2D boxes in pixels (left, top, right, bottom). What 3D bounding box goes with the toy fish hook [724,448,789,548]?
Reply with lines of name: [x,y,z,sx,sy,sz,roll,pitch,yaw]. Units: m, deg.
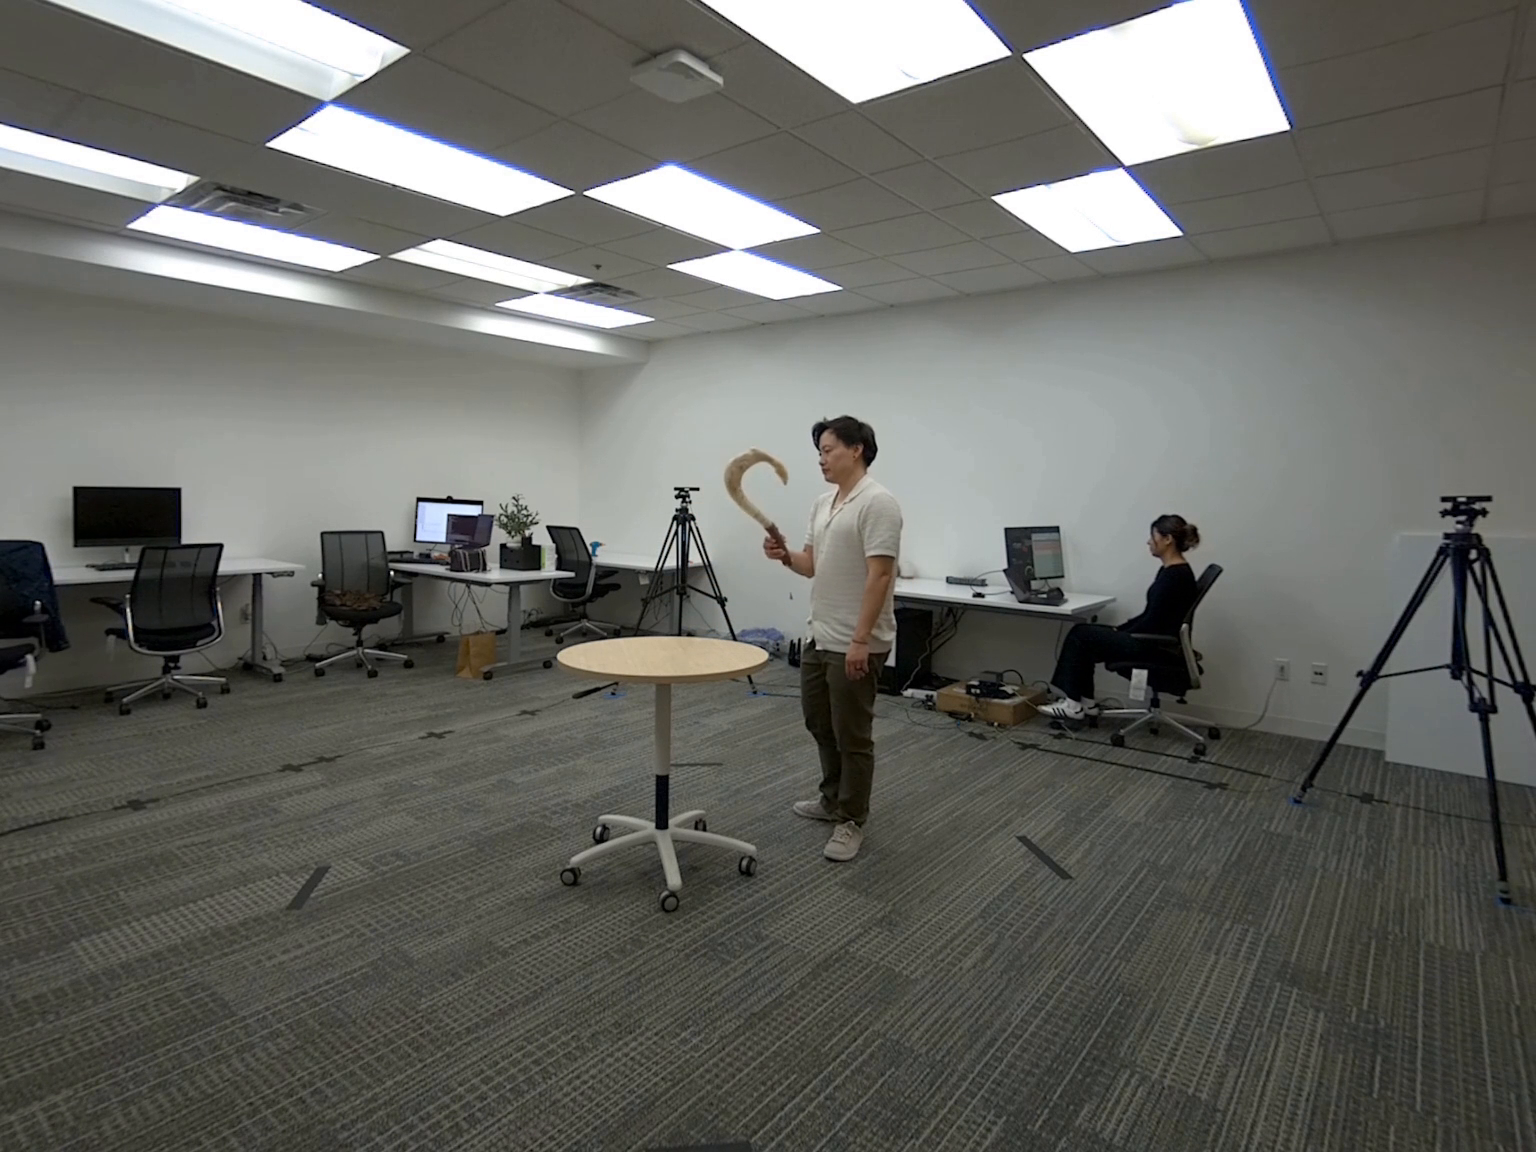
toy fish hook: [0.008,-0.253,3.174,0.225,0.490,0.050,-27,27,9]
